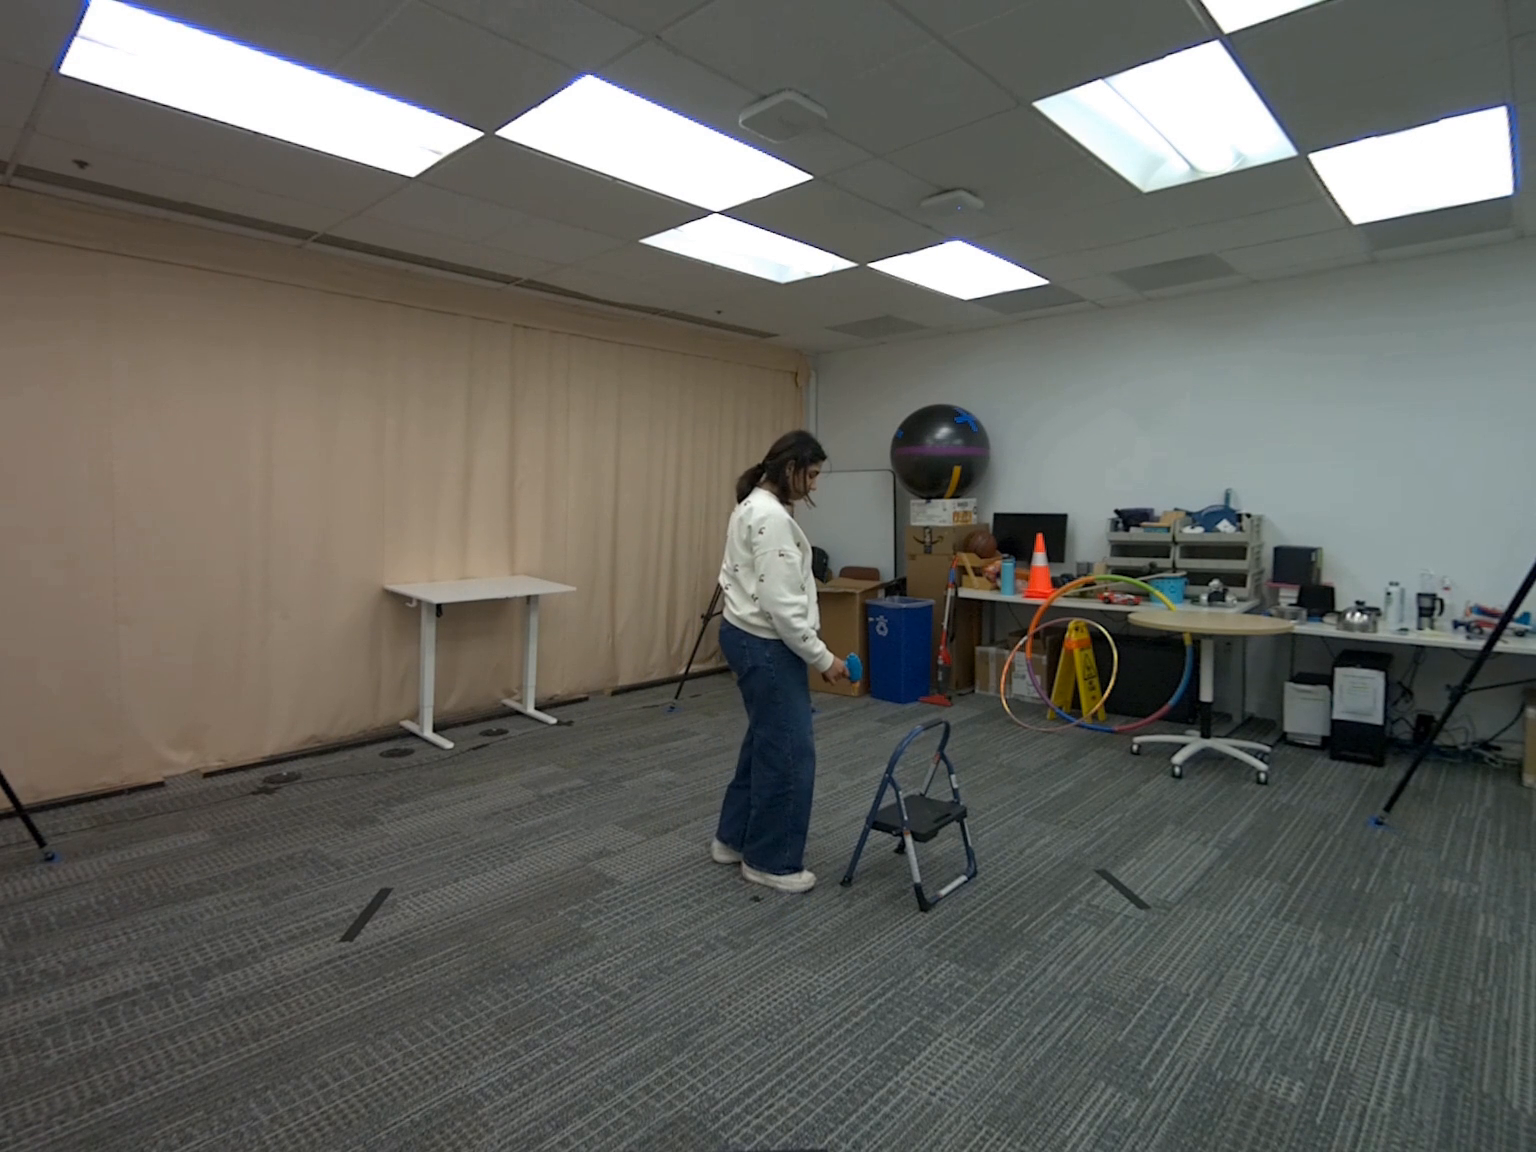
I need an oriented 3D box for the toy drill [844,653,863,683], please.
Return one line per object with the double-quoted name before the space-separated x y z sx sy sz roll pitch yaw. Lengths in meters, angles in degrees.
"toy drill" 0.275 0.366 3.024 0.145 0.167 0.062 -13 22 -4
